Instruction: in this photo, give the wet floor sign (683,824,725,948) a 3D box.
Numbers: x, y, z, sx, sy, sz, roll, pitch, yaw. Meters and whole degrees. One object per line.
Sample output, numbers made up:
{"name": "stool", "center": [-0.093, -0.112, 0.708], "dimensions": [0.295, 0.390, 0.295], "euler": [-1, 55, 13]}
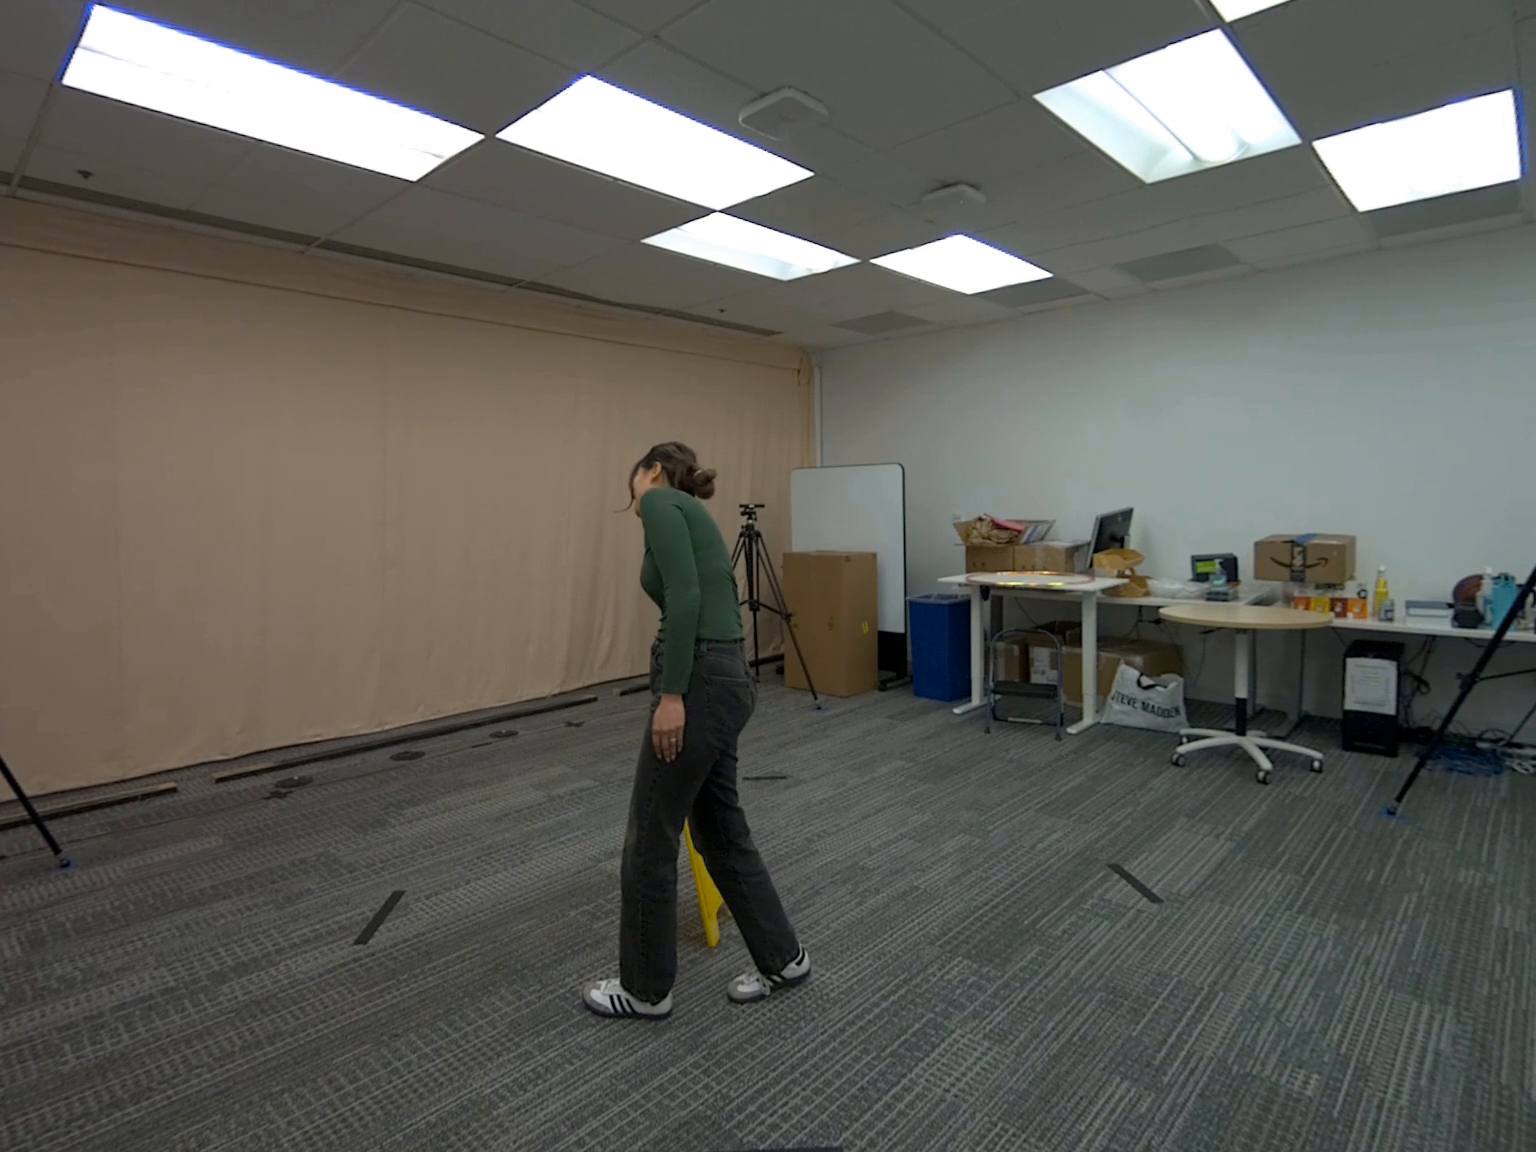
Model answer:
{"name": "wet floor sign", "center": [-0.289, 0.838, 2.801], "dimensions": [0.295, 0.644, 0.278], "euler": [1, 5, 16]}
